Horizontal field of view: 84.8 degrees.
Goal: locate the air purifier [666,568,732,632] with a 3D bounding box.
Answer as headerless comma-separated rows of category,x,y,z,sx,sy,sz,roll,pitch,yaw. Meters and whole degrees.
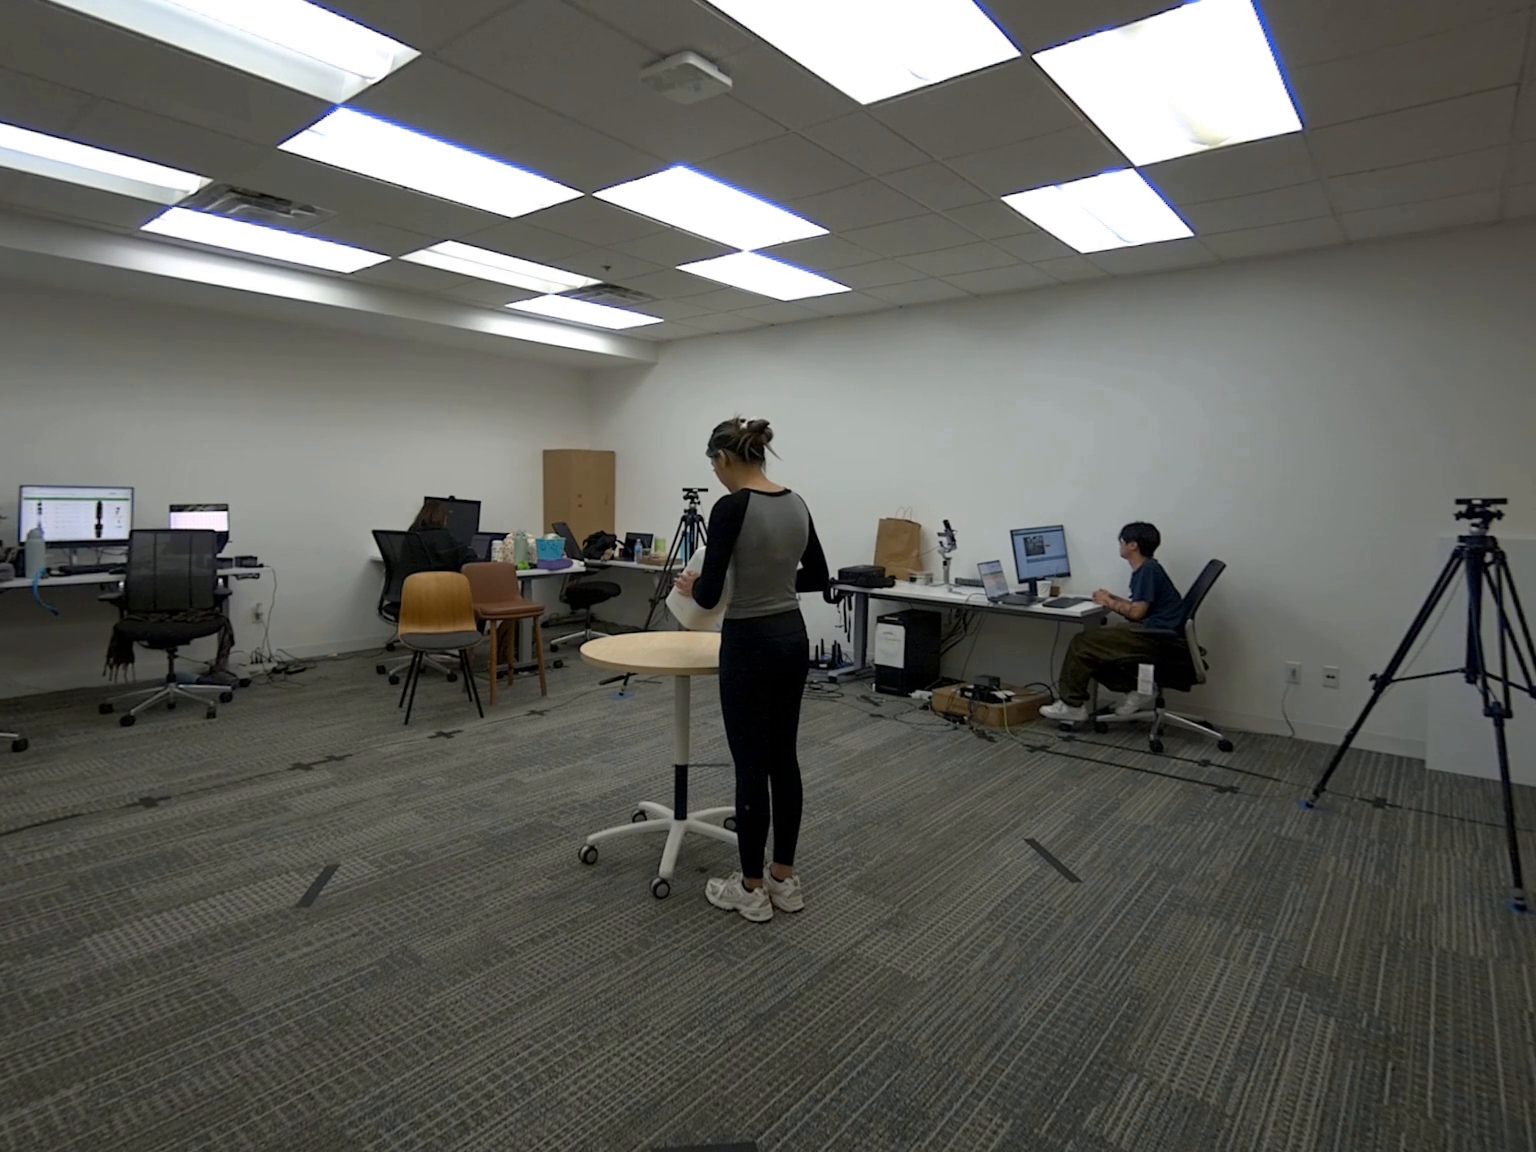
air purifier,-0.225,0.036,3.007,0.166,0.264,0.177,-2,44,-49
